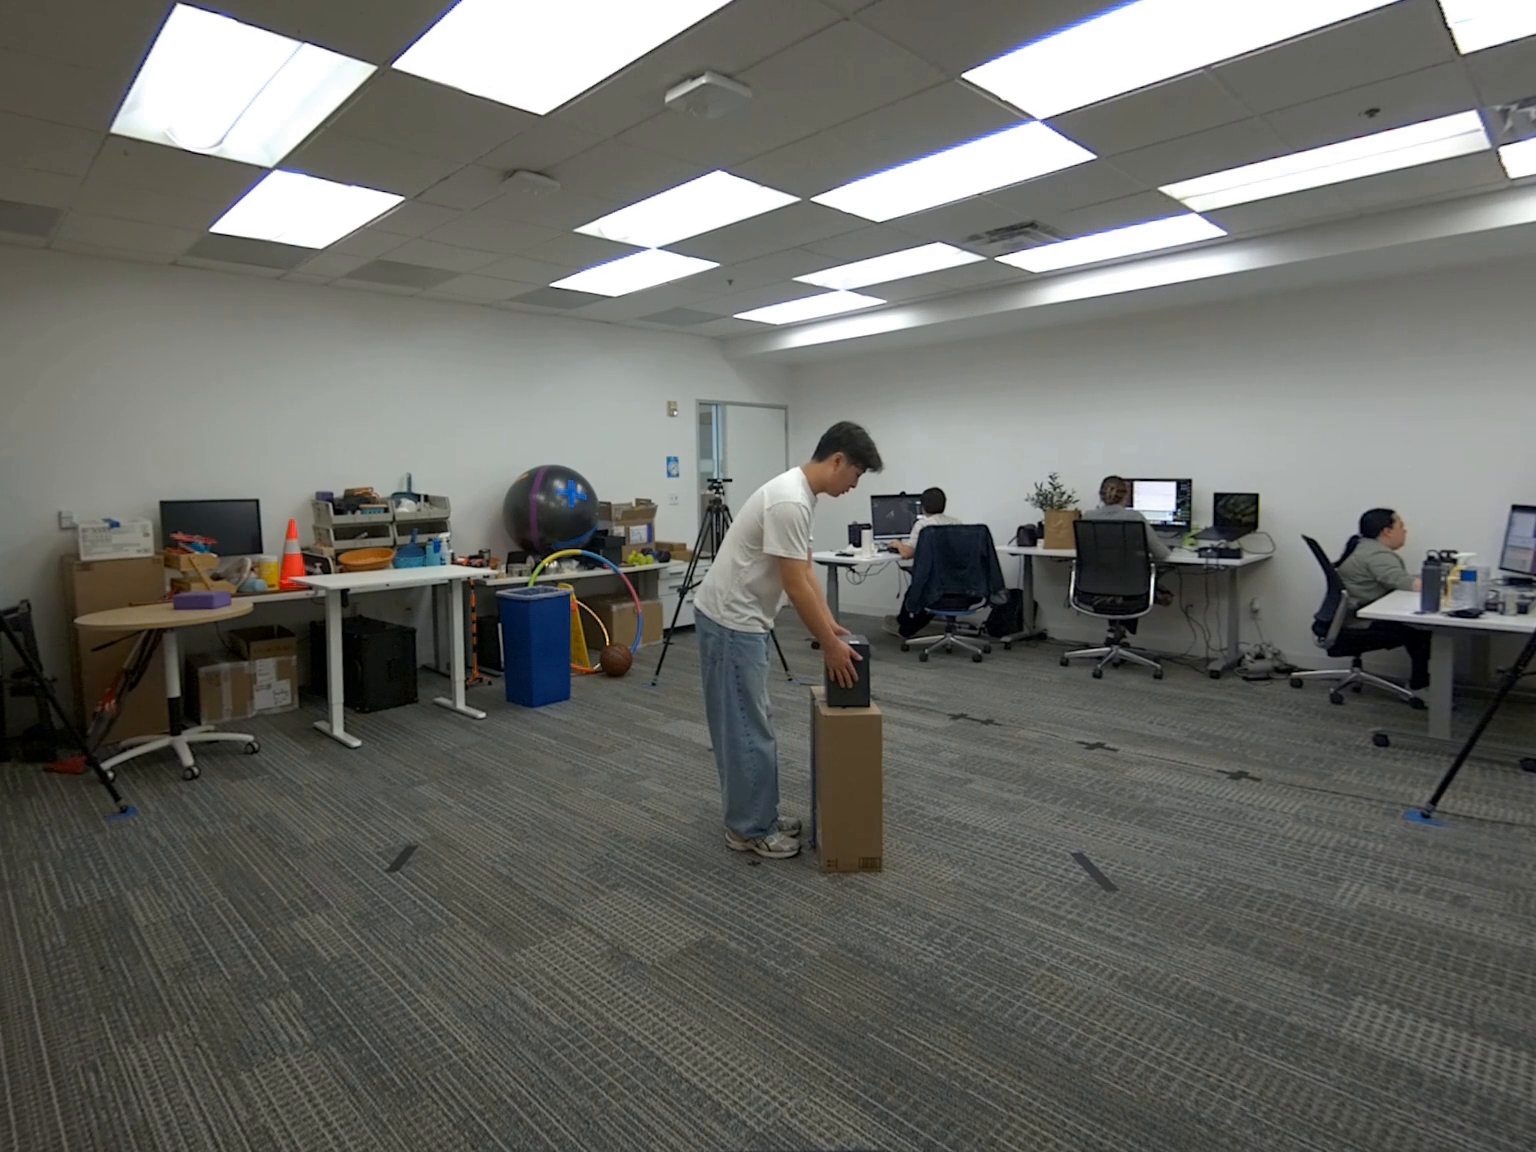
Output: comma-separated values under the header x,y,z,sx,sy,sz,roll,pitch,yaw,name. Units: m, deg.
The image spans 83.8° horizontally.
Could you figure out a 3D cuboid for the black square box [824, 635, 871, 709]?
x,y,z,sx,sy,sz,roll,pitch,yaw,name
0.283,0.345,3.187,0.157,0.227,0.216,0,6,6,black square box
